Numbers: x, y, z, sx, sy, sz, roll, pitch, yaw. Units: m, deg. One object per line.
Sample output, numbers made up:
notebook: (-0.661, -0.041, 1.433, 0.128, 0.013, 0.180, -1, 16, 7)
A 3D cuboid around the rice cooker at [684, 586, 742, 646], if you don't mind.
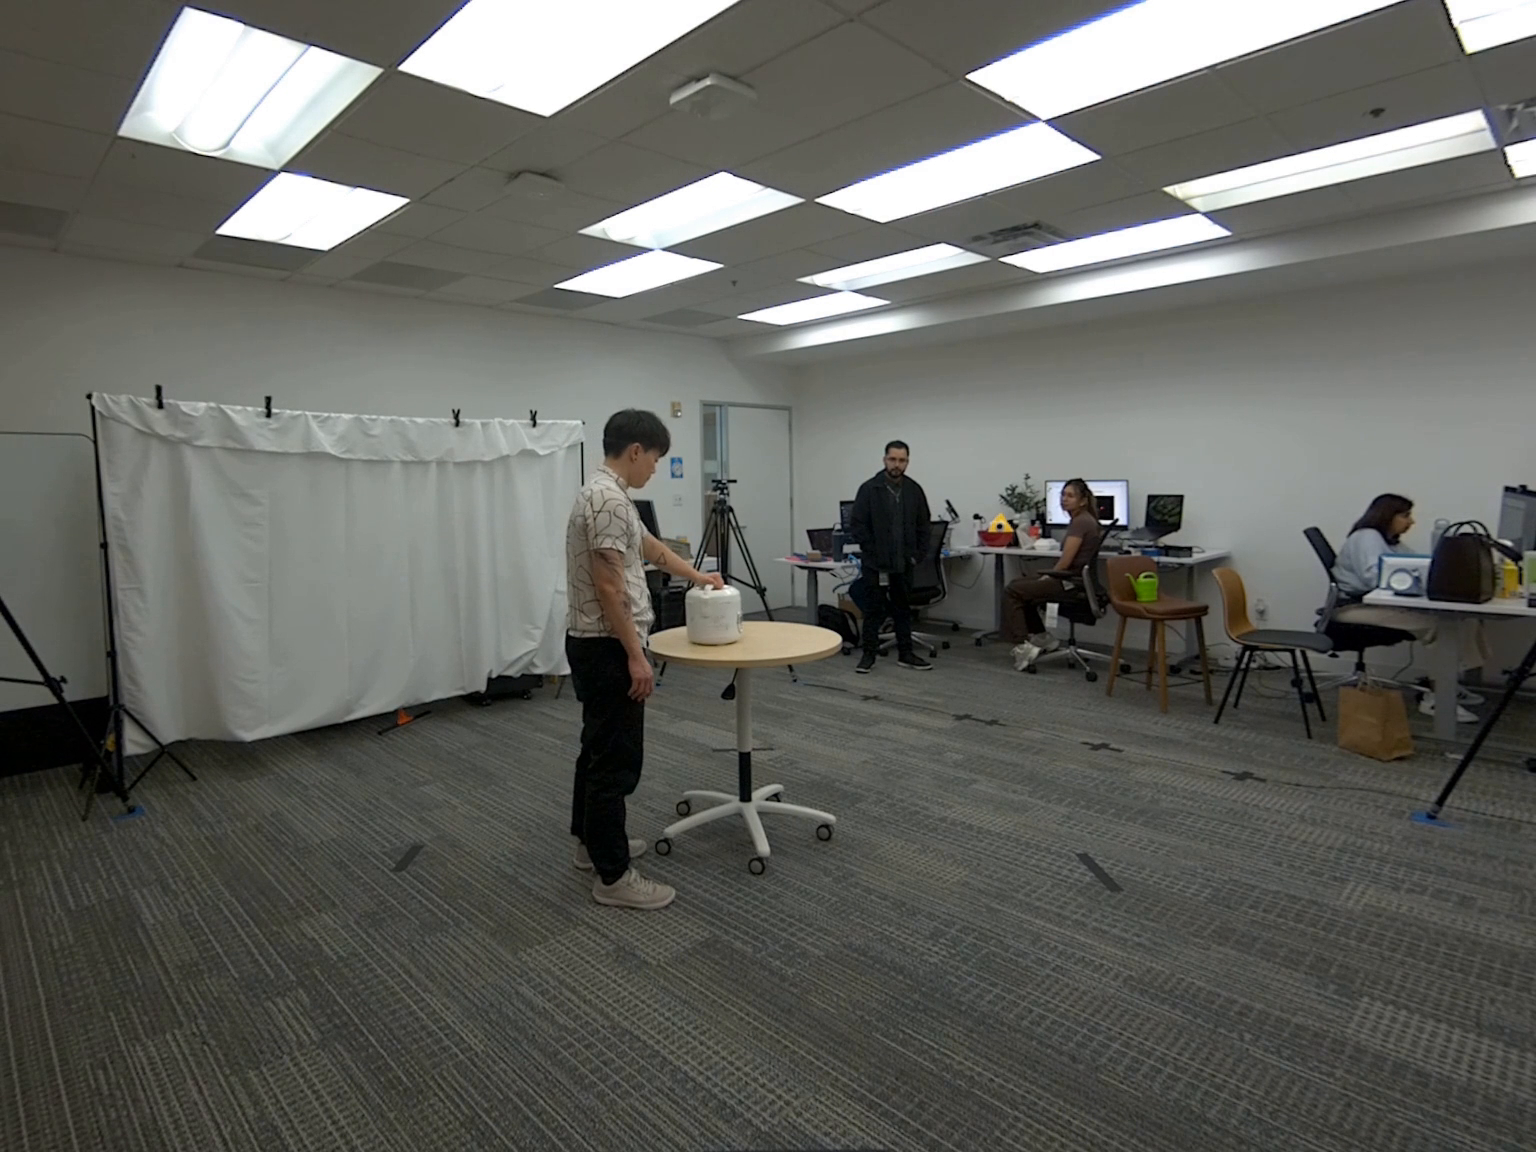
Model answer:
rice cooker: (-0.204, 0.136, 3.268, 0.221, 0.232, 0.218, 0, 5, 15)
